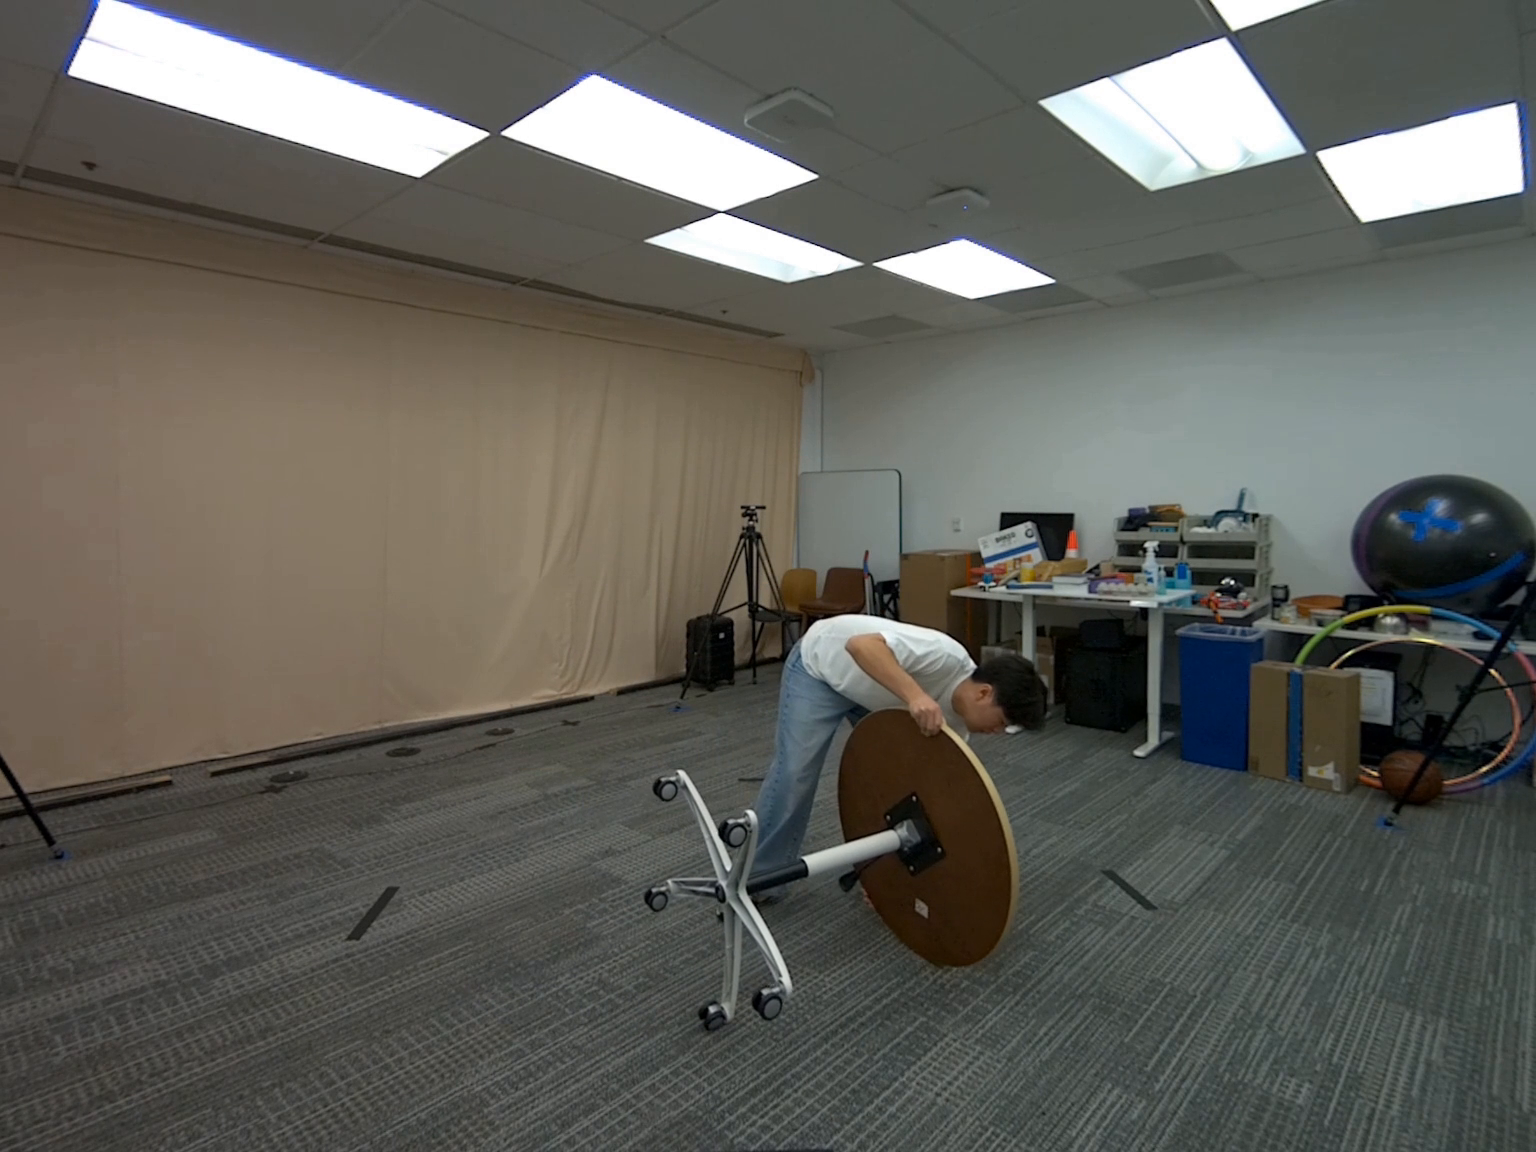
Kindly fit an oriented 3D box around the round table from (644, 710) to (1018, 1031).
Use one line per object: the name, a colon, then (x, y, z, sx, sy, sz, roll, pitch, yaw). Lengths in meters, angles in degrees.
round table: (0.139, 0.830, 2.399, 0.774, 0.761, 0.786, -6, 6, -30)
